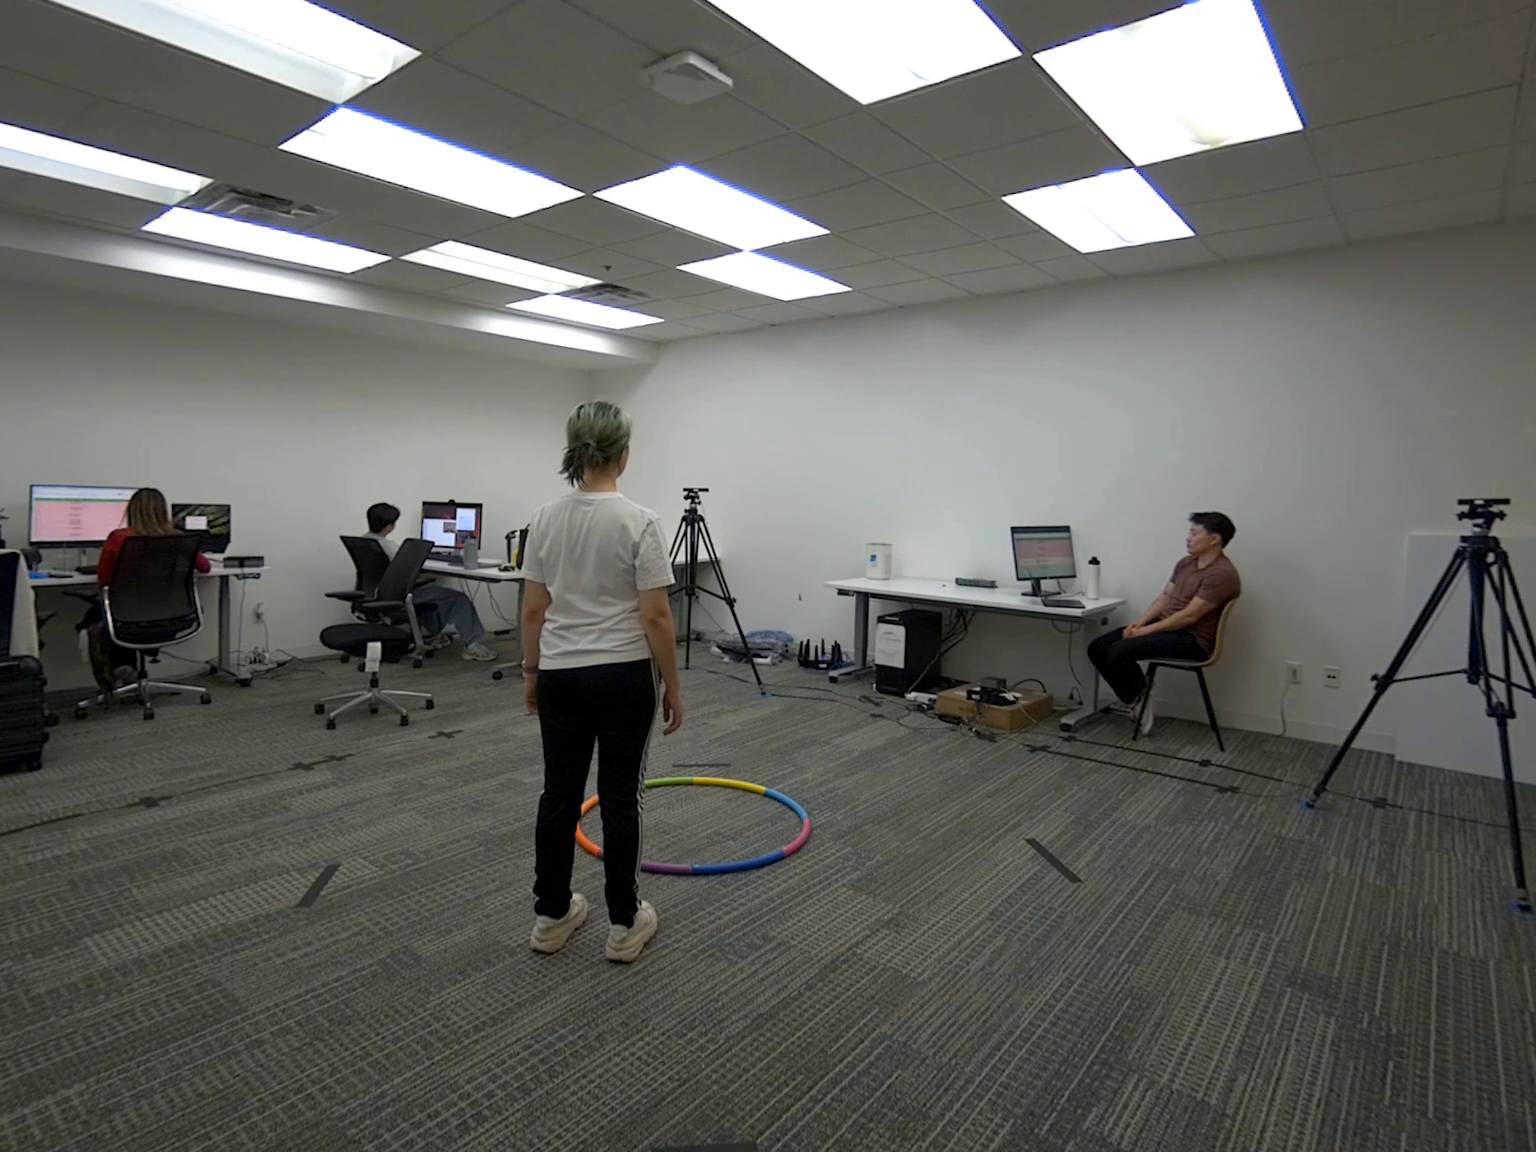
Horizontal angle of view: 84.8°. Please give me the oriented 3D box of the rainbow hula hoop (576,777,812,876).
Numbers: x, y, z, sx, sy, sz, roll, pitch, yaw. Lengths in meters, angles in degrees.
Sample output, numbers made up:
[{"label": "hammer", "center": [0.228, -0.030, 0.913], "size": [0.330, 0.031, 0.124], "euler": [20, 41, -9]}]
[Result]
[{"label": "rainbow hula hoop", "center": [-0.326, 0.996, 3.529], "size": [0.978, 0.035, 0.984], "euler": [1, 6, -2]}]
